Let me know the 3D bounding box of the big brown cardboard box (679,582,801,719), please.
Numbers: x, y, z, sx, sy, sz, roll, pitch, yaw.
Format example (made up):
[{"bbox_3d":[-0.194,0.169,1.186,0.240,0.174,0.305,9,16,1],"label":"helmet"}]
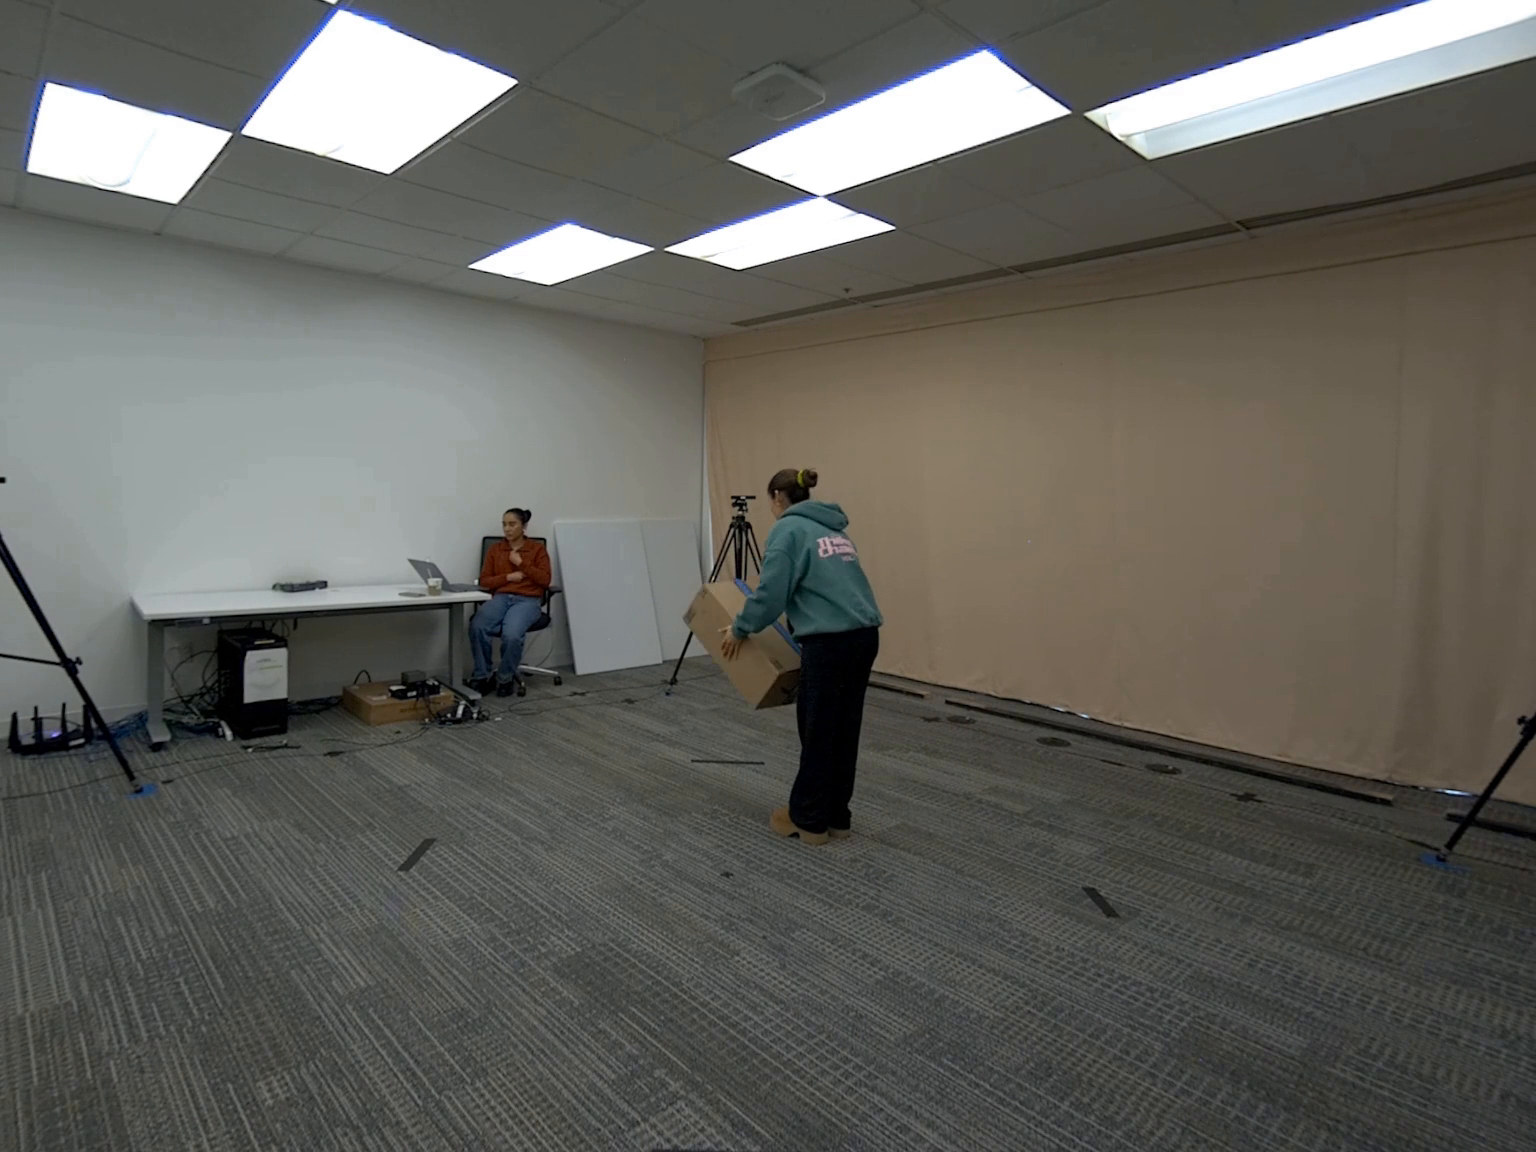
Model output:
[{"bbox_3d":[-0.034,0.305,3.740,0.407,0.232,0.606,1,38,-49],"label":"big brown cardboard box"}]
